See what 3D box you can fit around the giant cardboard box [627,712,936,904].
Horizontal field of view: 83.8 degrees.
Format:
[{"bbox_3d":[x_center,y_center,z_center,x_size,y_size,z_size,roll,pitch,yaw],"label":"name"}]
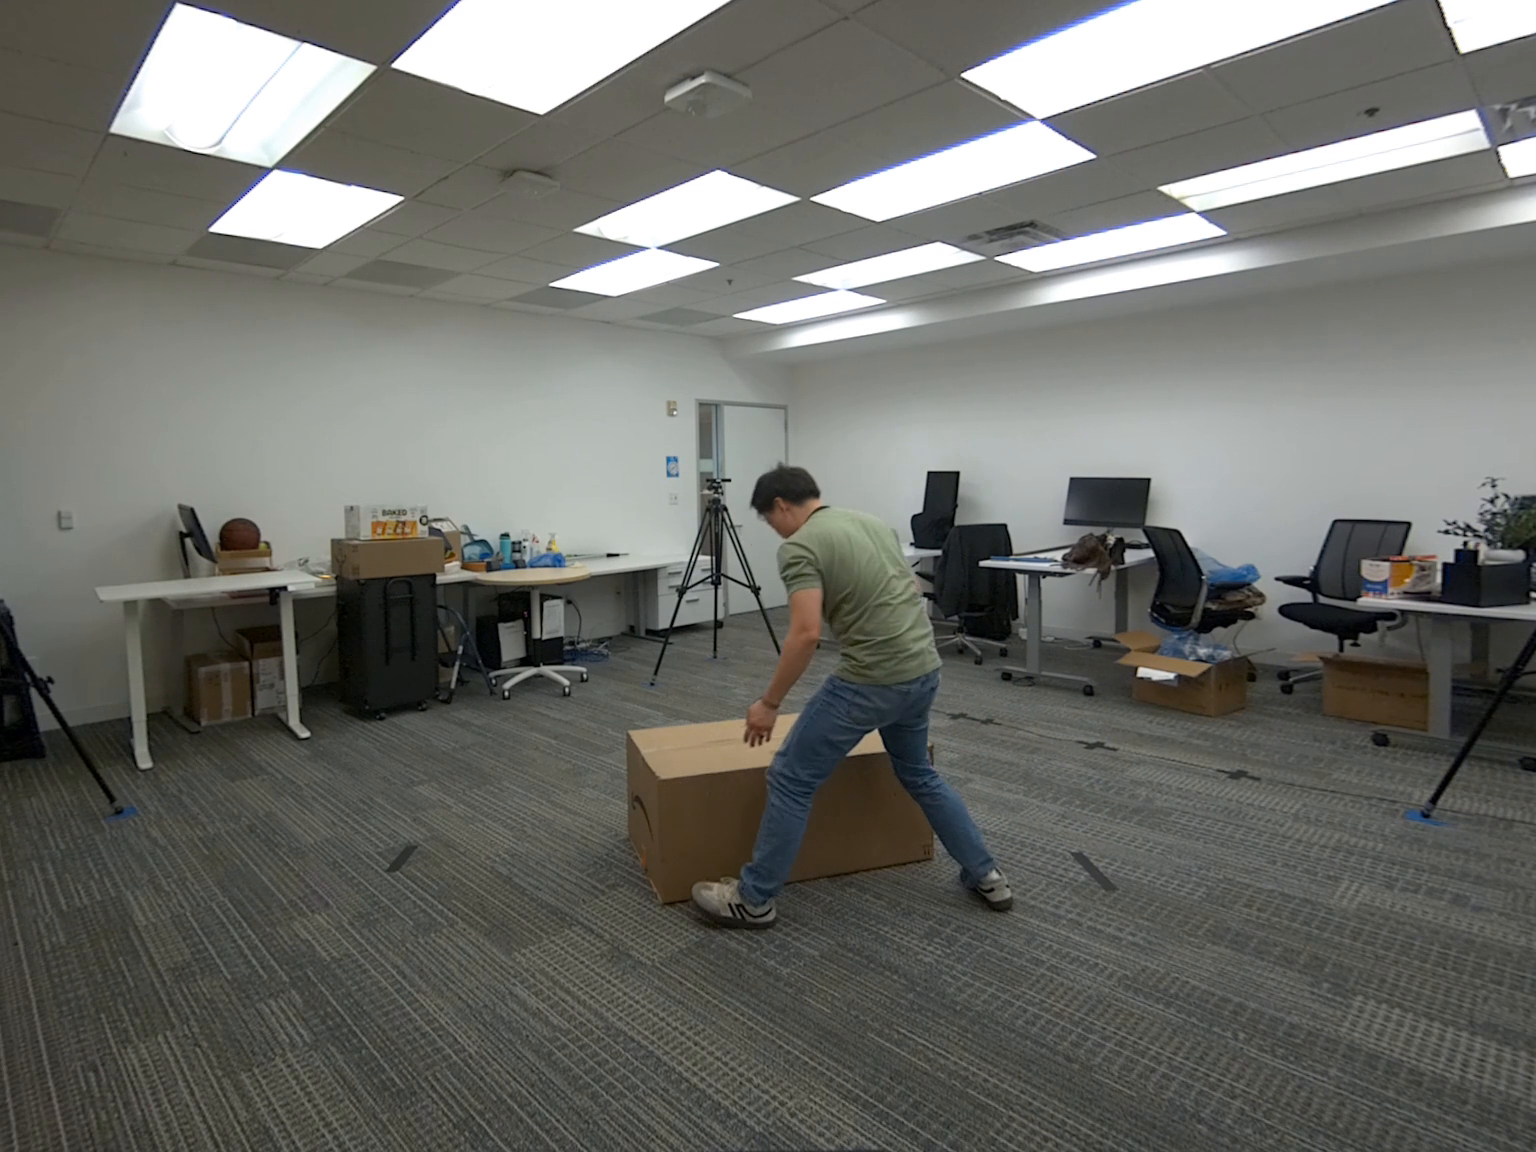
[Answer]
[{"bbox_3d":[0.024,0.816,3.215,1.010,0.424,0.590,-3,6,-18],"label":"giant cardboard box"}]
